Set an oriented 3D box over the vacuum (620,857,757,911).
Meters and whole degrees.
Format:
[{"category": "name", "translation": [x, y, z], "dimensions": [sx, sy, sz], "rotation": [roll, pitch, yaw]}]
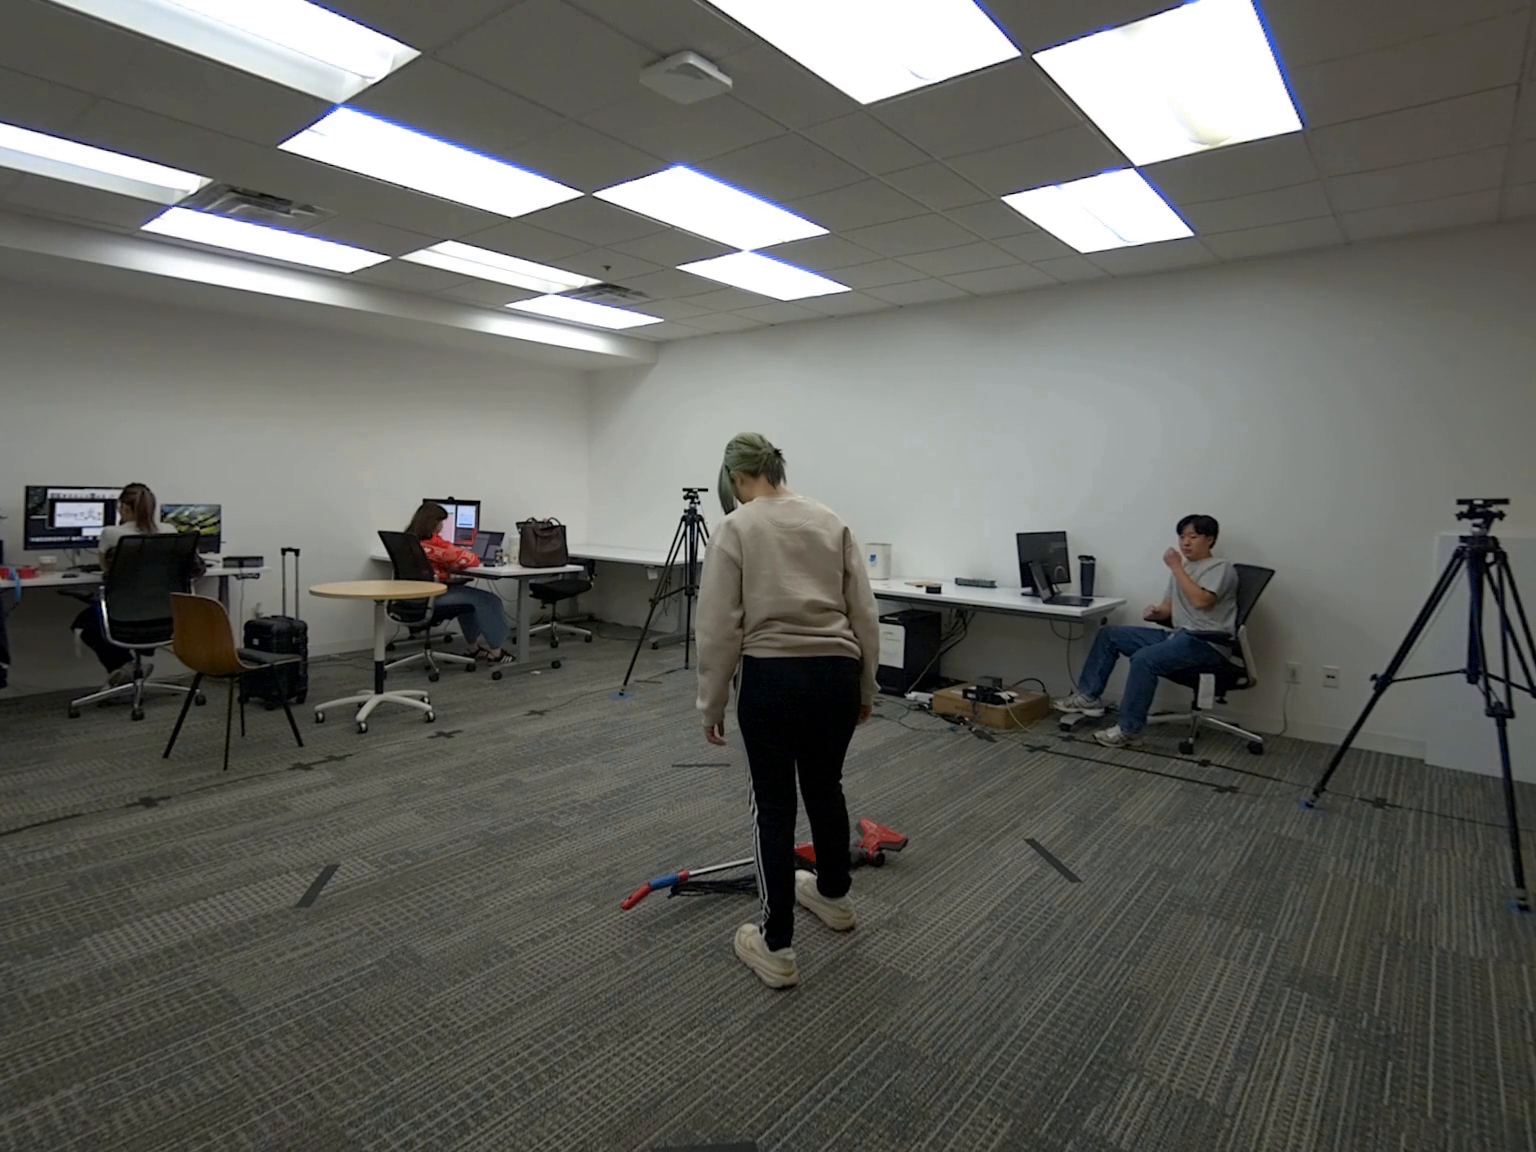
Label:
[{"category": "vacuum", "translation": [-0.022, 1.026, 2.960], "dimensions": [1.021, 0.143, 0.261], "rotation": [-3, 7, -32]}]
